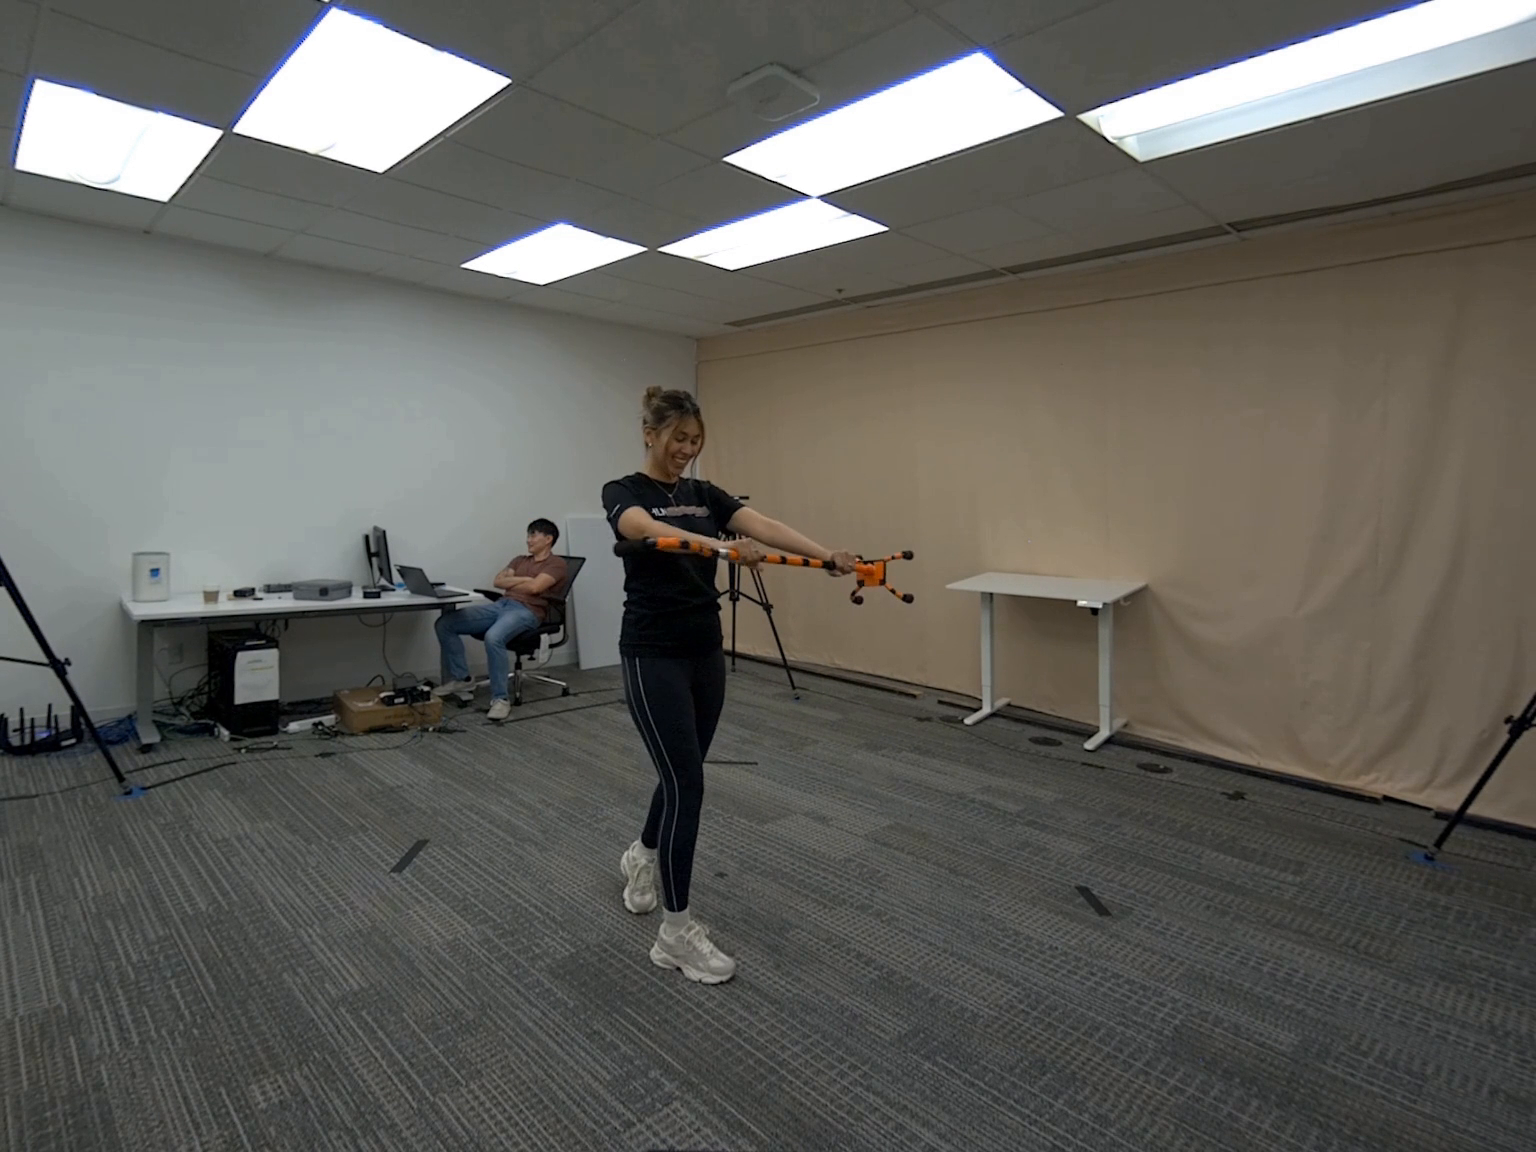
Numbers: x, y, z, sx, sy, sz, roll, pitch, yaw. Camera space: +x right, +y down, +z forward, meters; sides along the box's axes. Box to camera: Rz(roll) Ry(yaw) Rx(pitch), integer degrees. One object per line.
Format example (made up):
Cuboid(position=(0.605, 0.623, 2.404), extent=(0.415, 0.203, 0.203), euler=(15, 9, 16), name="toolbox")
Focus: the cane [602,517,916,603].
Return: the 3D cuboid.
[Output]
Cuboid(position=(0.020, -0.030, 2.131), extent=(0.884, 0.152, 0.211), euler=(5, -6, -44), name="cane")
